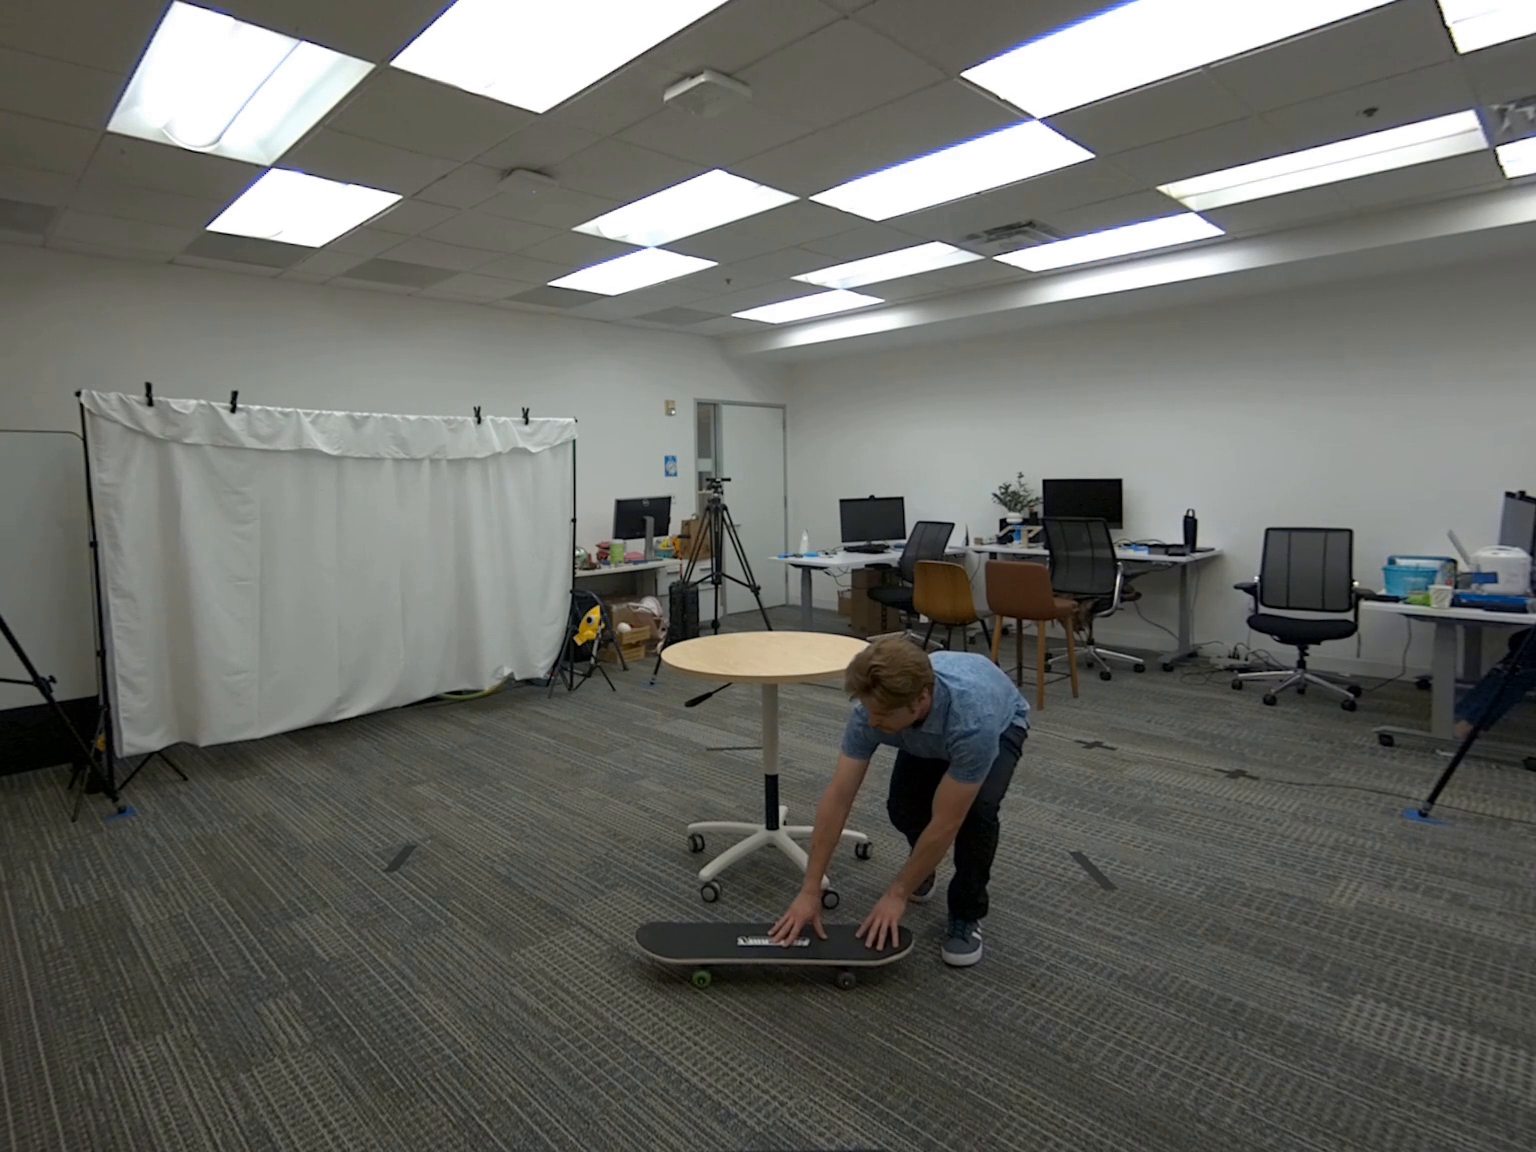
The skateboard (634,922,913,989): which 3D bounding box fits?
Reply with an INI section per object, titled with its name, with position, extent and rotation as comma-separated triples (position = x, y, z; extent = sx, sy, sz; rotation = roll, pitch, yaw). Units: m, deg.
[skateboard]
position = 0.018, 1.061, 2.428
extent = 0.788, 0.110, 0.194
rotation = -1, 5, 3
